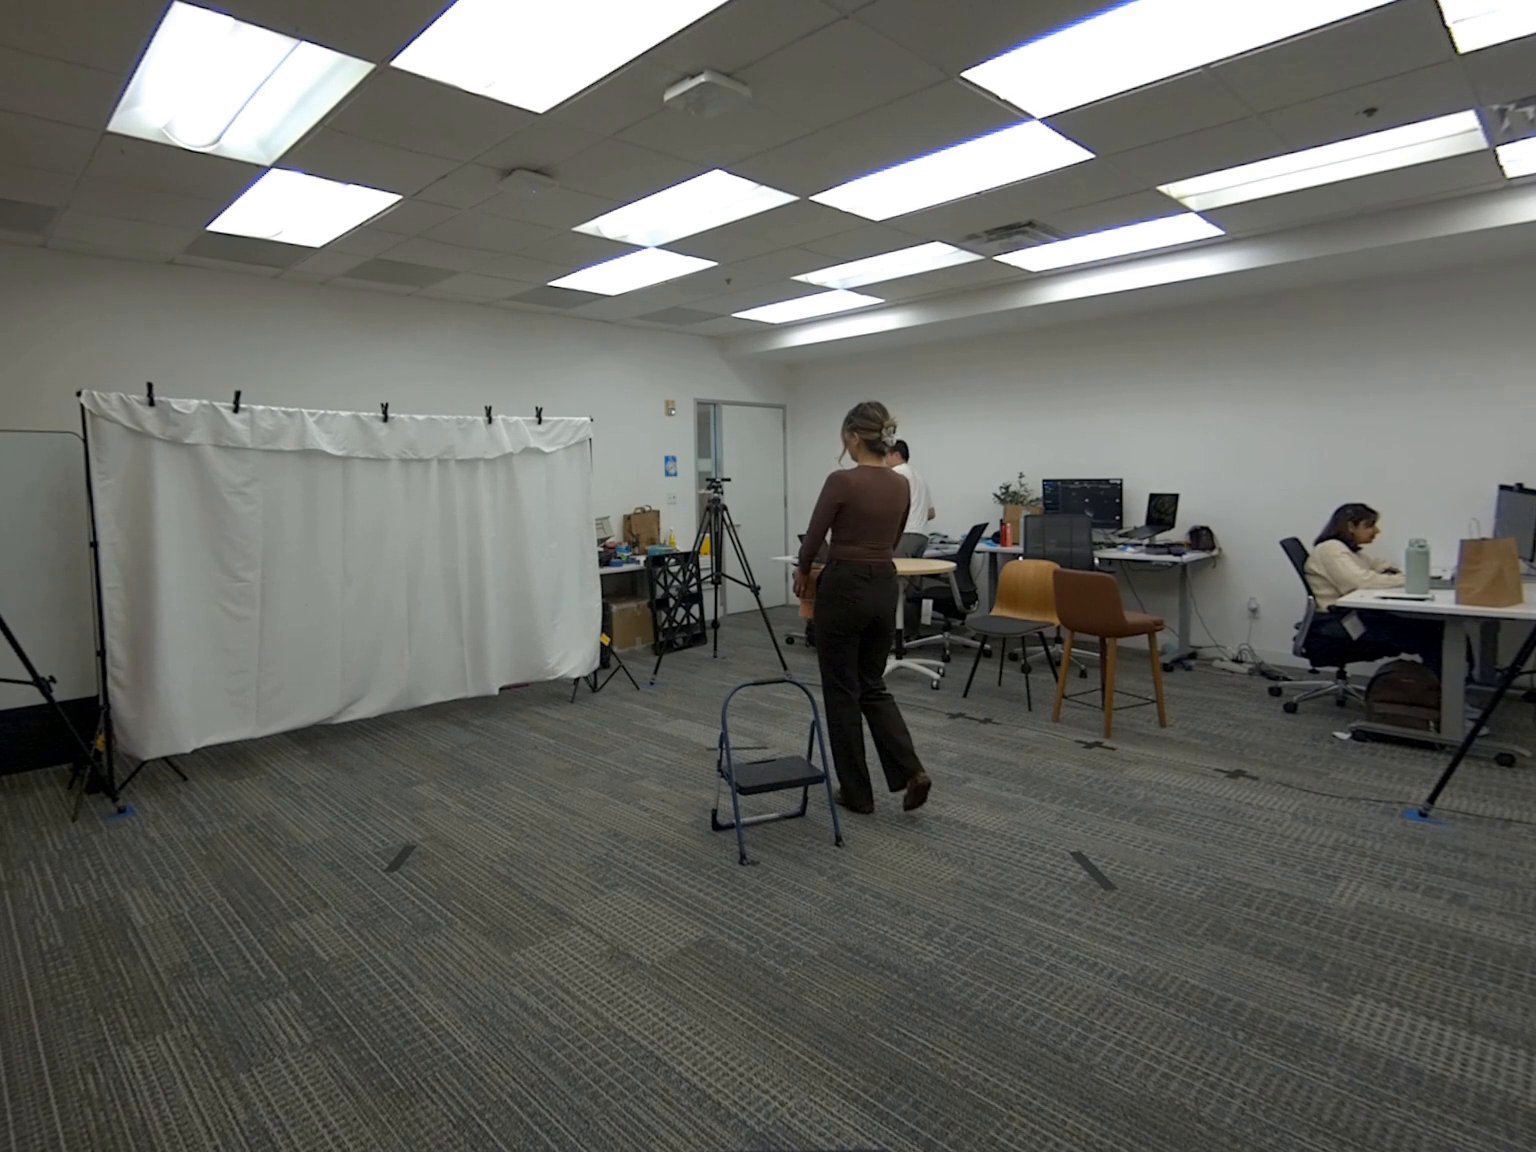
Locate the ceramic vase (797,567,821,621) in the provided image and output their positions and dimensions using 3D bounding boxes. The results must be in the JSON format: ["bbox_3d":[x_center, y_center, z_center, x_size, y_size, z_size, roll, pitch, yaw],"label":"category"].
[{"bbox_3d":[0.205,0.077,3.853,0.135,0.219,0.159,0,6,0],"label":"ceramic vase"}]
